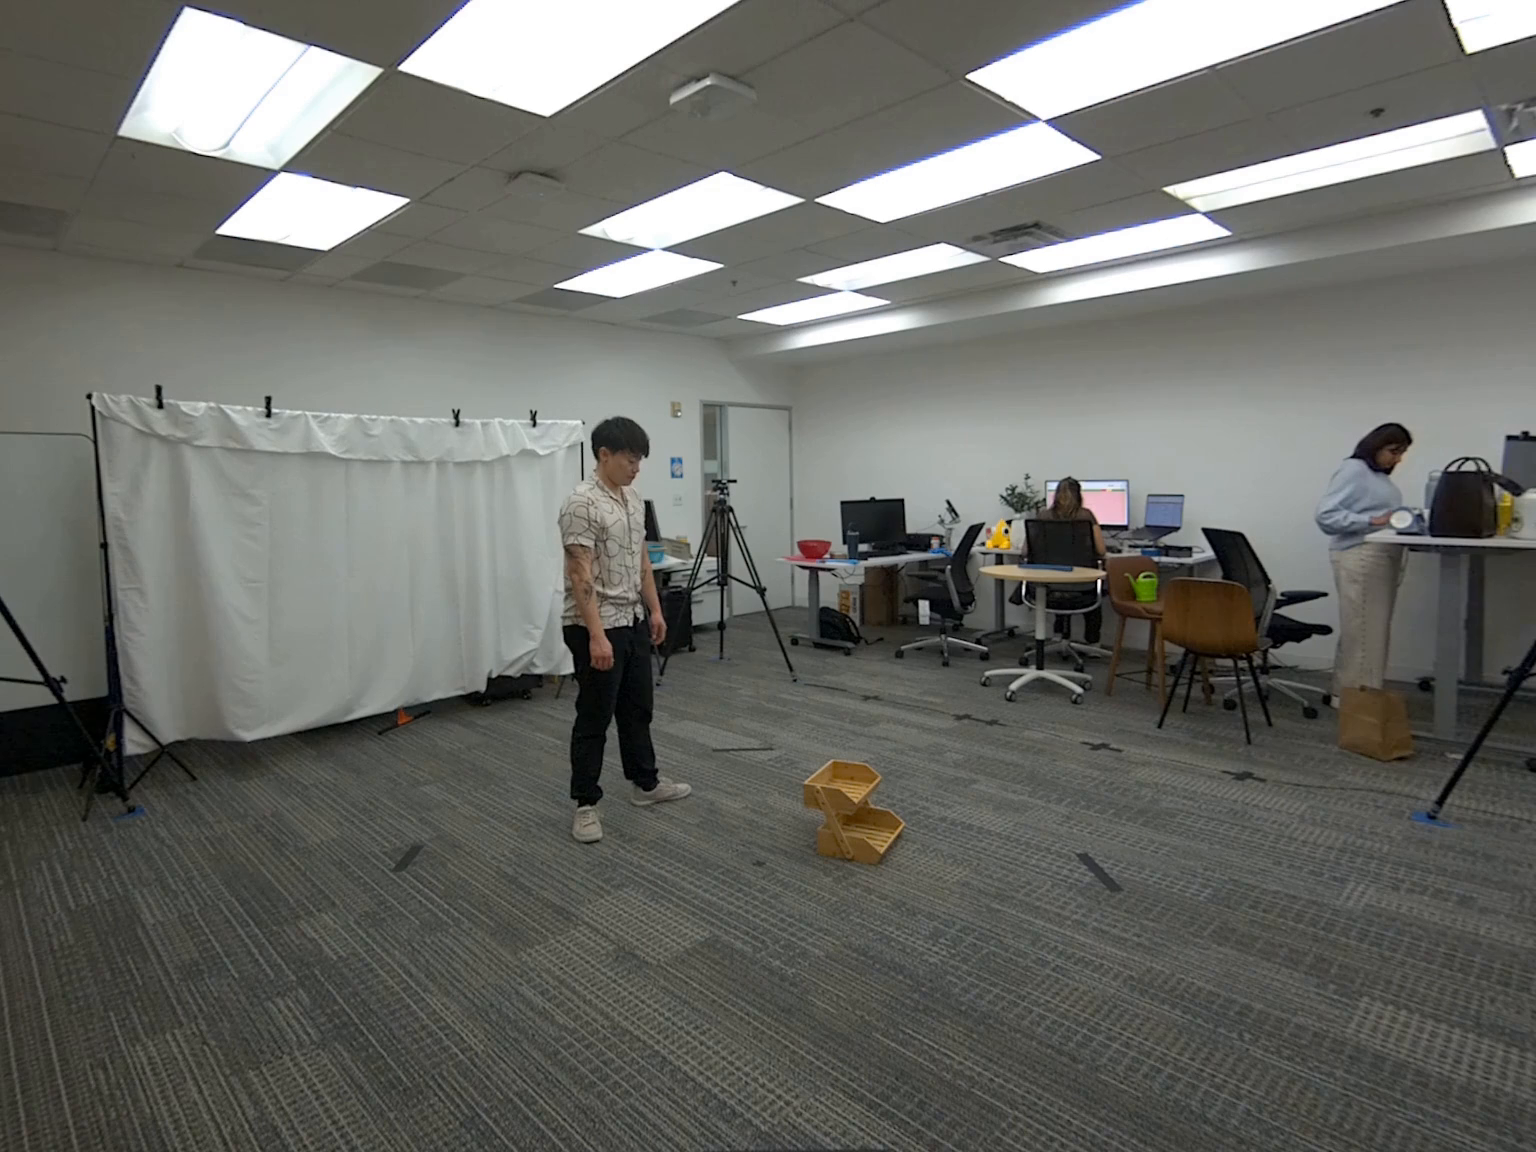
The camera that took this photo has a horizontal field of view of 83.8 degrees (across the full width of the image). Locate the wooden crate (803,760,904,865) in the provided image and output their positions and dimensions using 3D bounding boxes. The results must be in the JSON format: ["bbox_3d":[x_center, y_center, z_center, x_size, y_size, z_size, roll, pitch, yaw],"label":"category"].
[{"bbox_3d":[0.340,0.892,3.263,0.309,0.272,0.318,2,5,27],"label":"wooden crate"}]
